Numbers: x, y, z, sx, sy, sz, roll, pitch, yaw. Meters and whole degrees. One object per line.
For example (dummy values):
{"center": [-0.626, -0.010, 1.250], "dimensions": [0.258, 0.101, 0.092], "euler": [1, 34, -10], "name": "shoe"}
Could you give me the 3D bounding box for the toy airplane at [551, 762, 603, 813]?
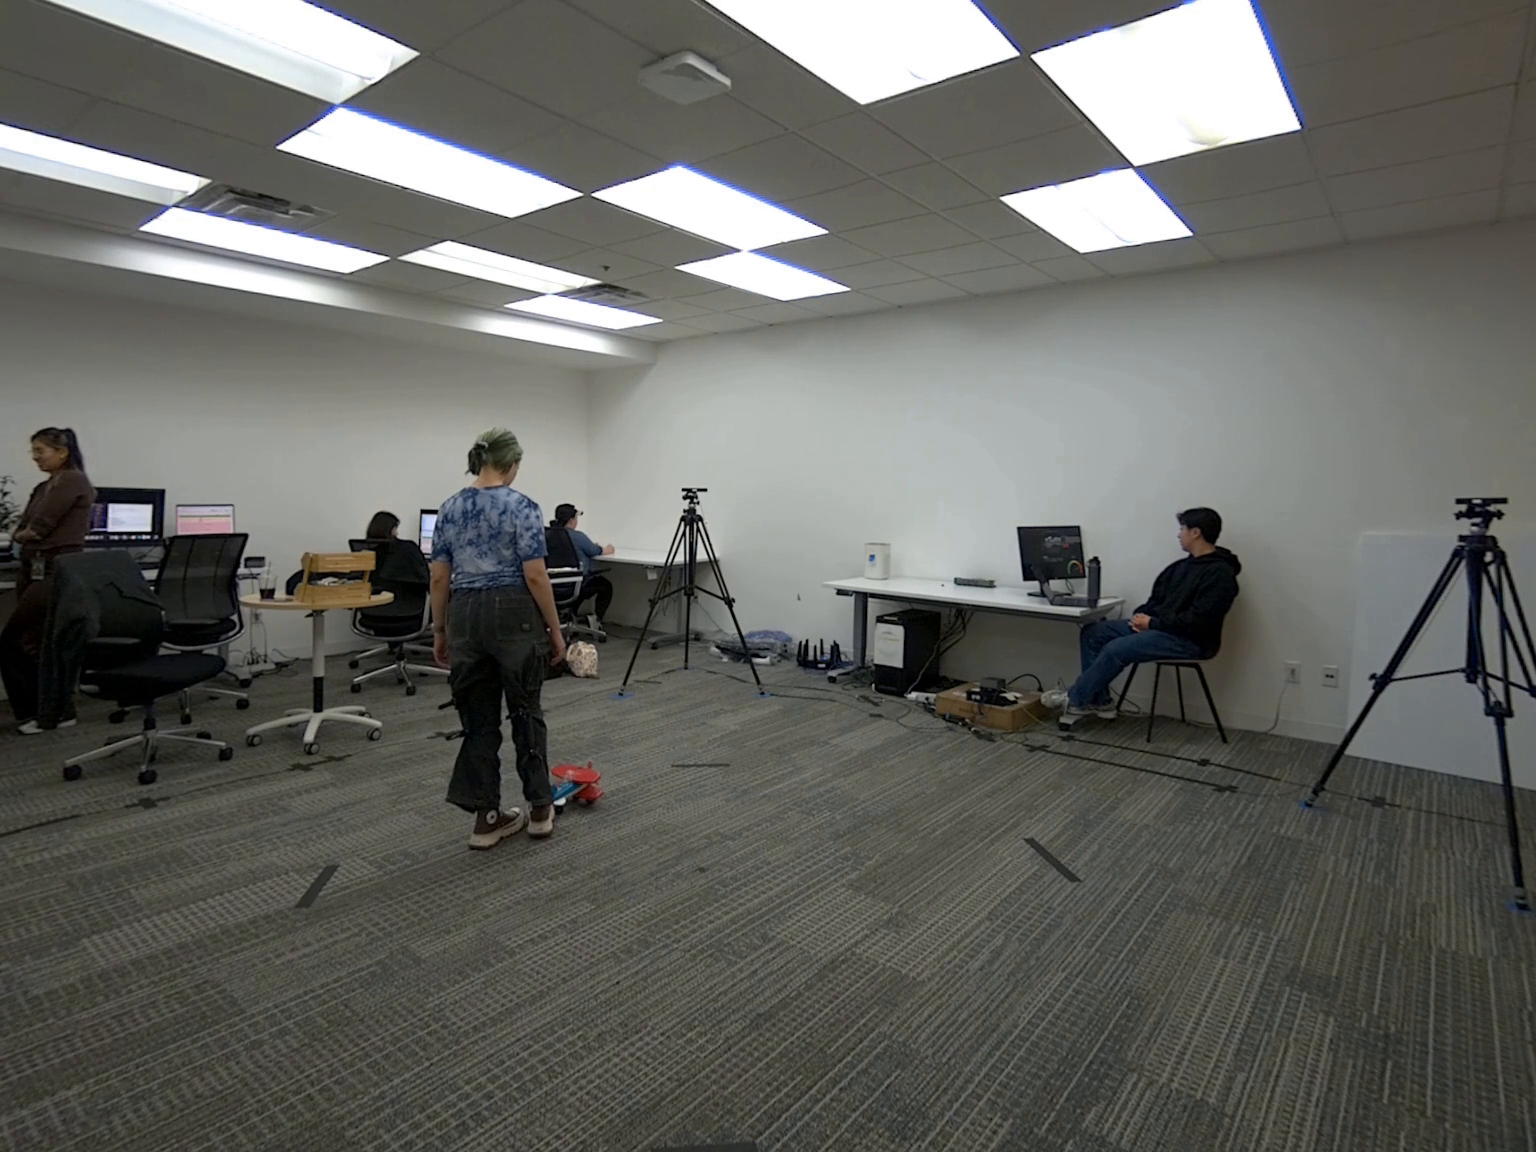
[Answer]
{"center": [-0.855, 0.931, 3.702], "dimensions": [0.252, 0.156, 0.259], "euler": [0, 4, 3], "name": "toy airplane"}
